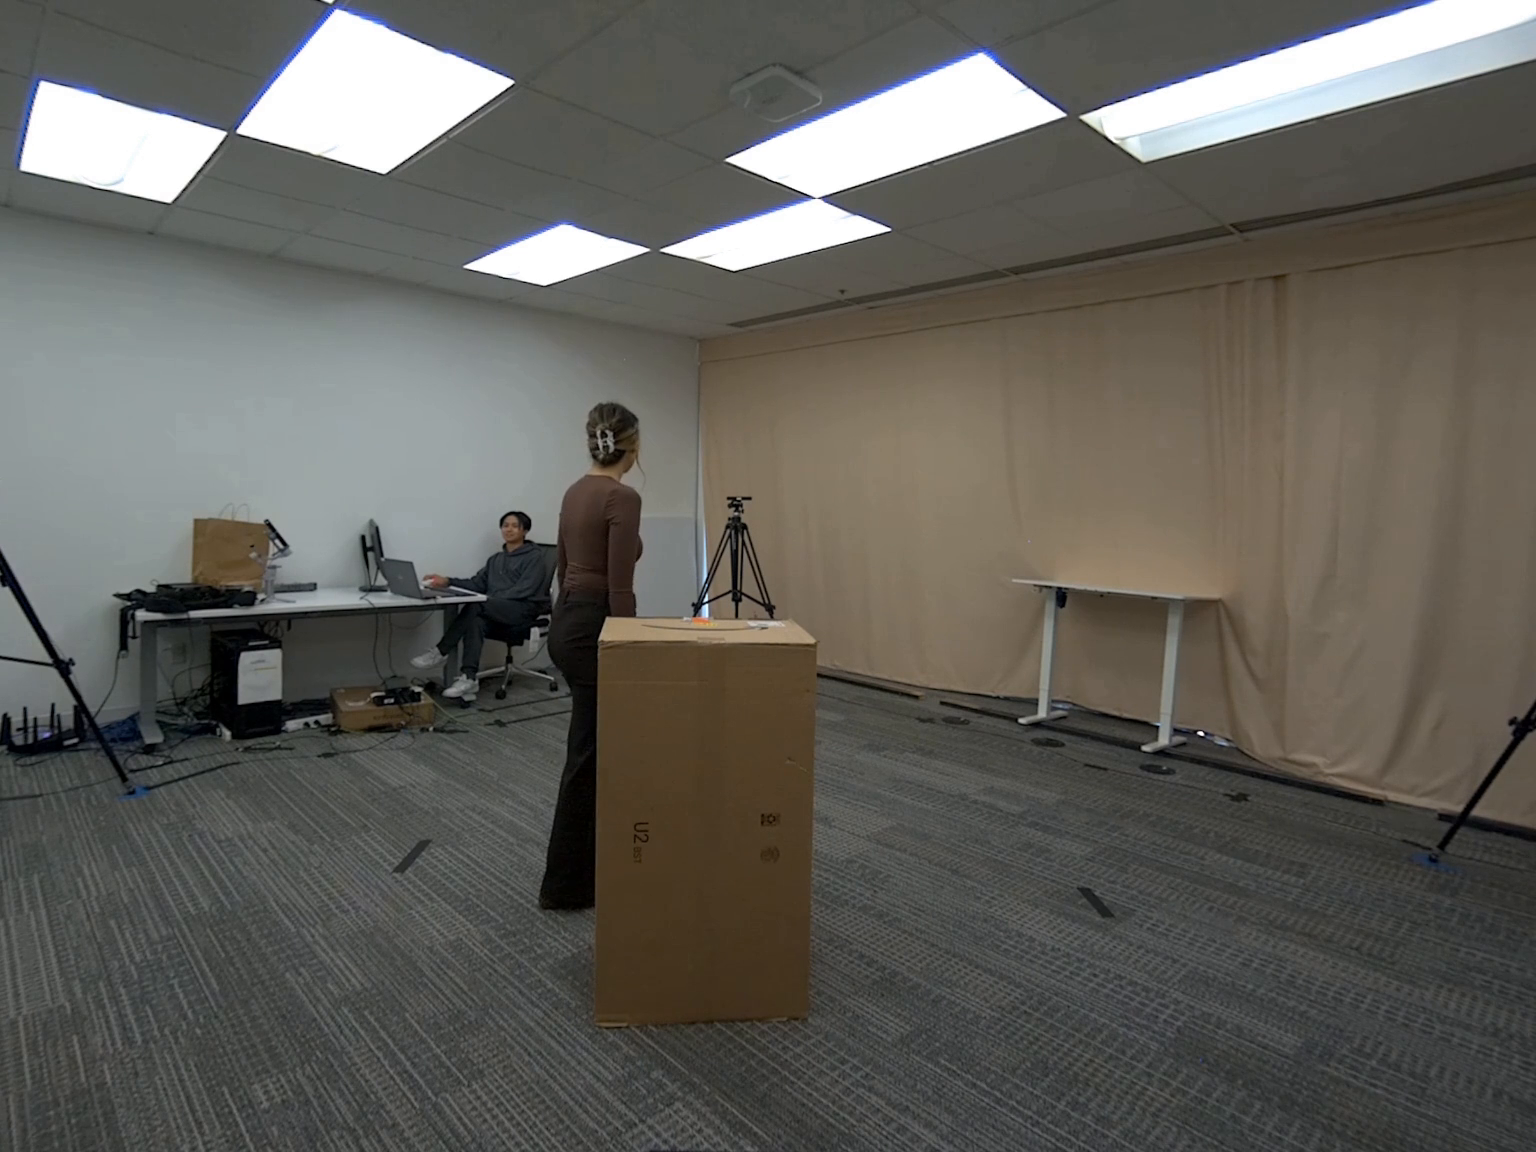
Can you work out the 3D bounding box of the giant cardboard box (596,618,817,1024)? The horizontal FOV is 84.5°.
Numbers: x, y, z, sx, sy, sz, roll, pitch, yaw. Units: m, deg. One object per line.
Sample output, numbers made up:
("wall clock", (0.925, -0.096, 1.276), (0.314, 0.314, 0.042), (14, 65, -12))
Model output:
("giant cardboard box", (-0.195, 0.655, 2.407), (0.581, 1.025, 0.450), (1, 3, -6))
